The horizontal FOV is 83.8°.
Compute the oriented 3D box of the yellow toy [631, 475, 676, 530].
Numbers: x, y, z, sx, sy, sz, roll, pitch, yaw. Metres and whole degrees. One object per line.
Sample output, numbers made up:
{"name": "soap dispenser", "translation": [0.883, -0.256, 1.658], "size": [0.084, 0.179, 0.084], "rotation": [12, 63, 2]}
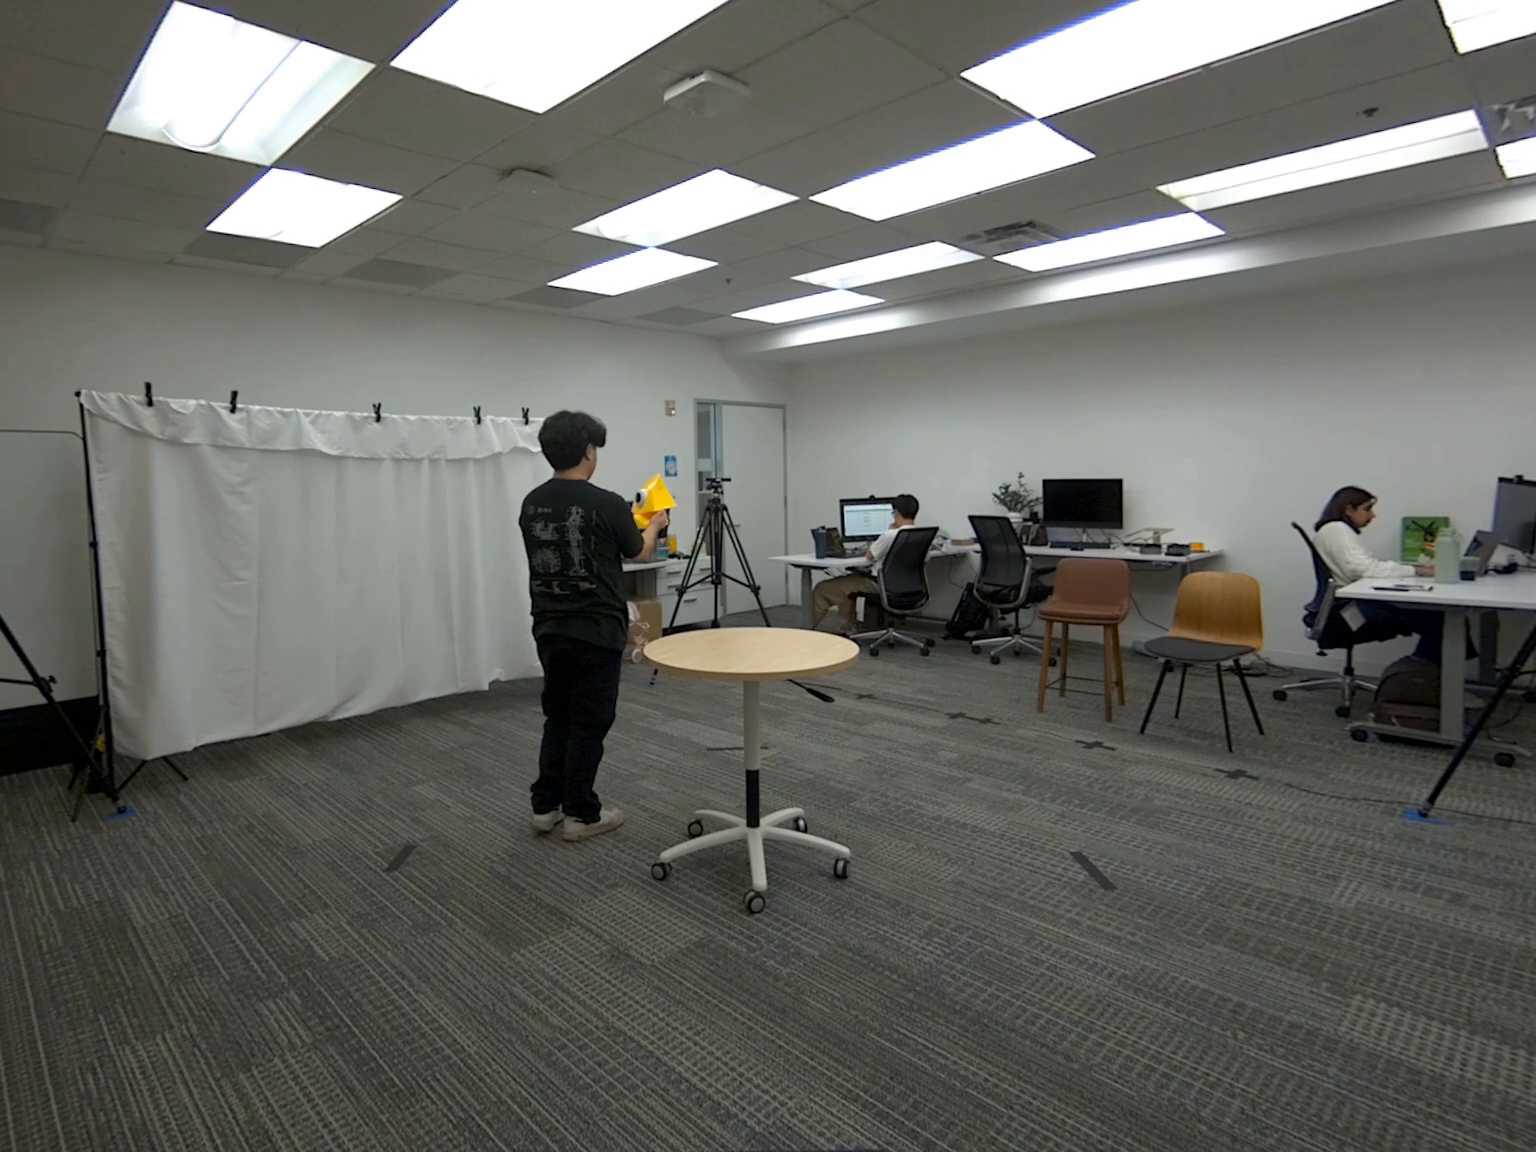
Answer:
{"name": "yellow toy", "translation": [-0.530, -0.336, 3.785], "size": [0.197, 0.229, 0.202], "rotation": [2, 9, 22]}
